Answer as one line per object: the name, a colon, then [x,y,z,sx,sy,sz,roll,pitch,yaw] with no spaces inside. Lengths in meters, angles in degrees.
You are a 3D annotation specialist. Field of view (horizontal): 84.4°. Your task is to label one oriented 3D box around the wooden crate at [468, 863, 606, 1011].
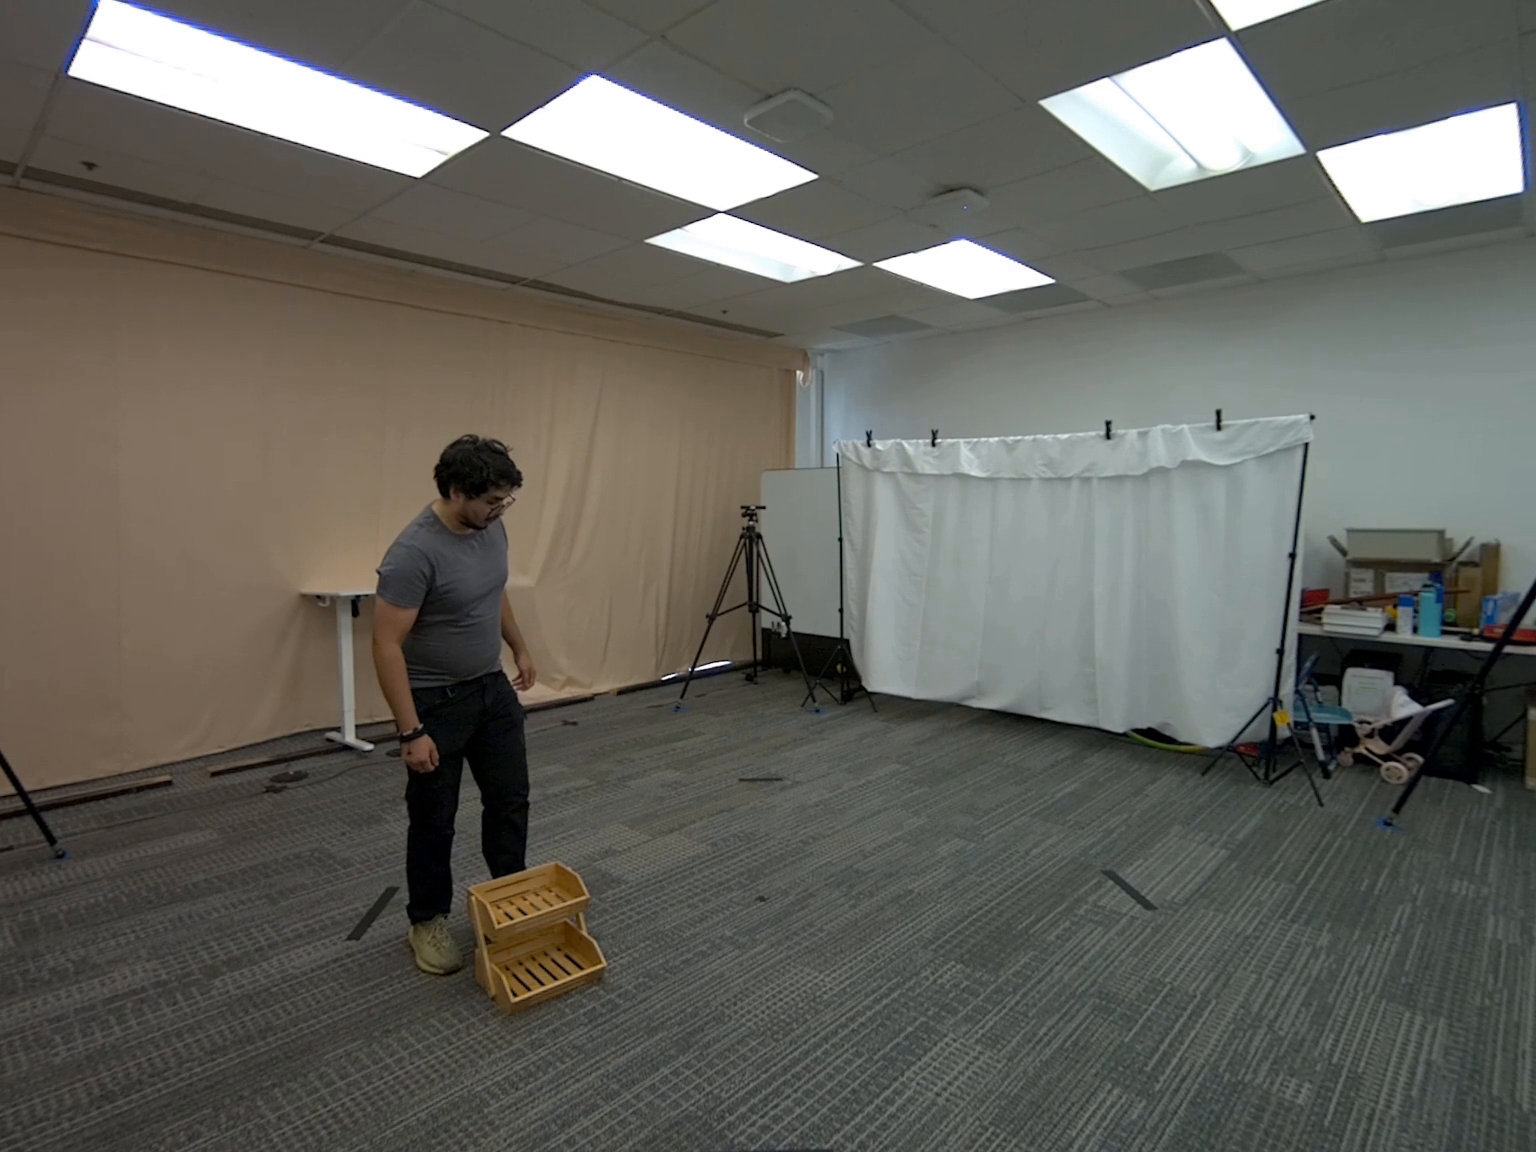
wooden crate: [-0.685,1.057,2.485,0.314,0.273,0.312,-3,4,-40]
